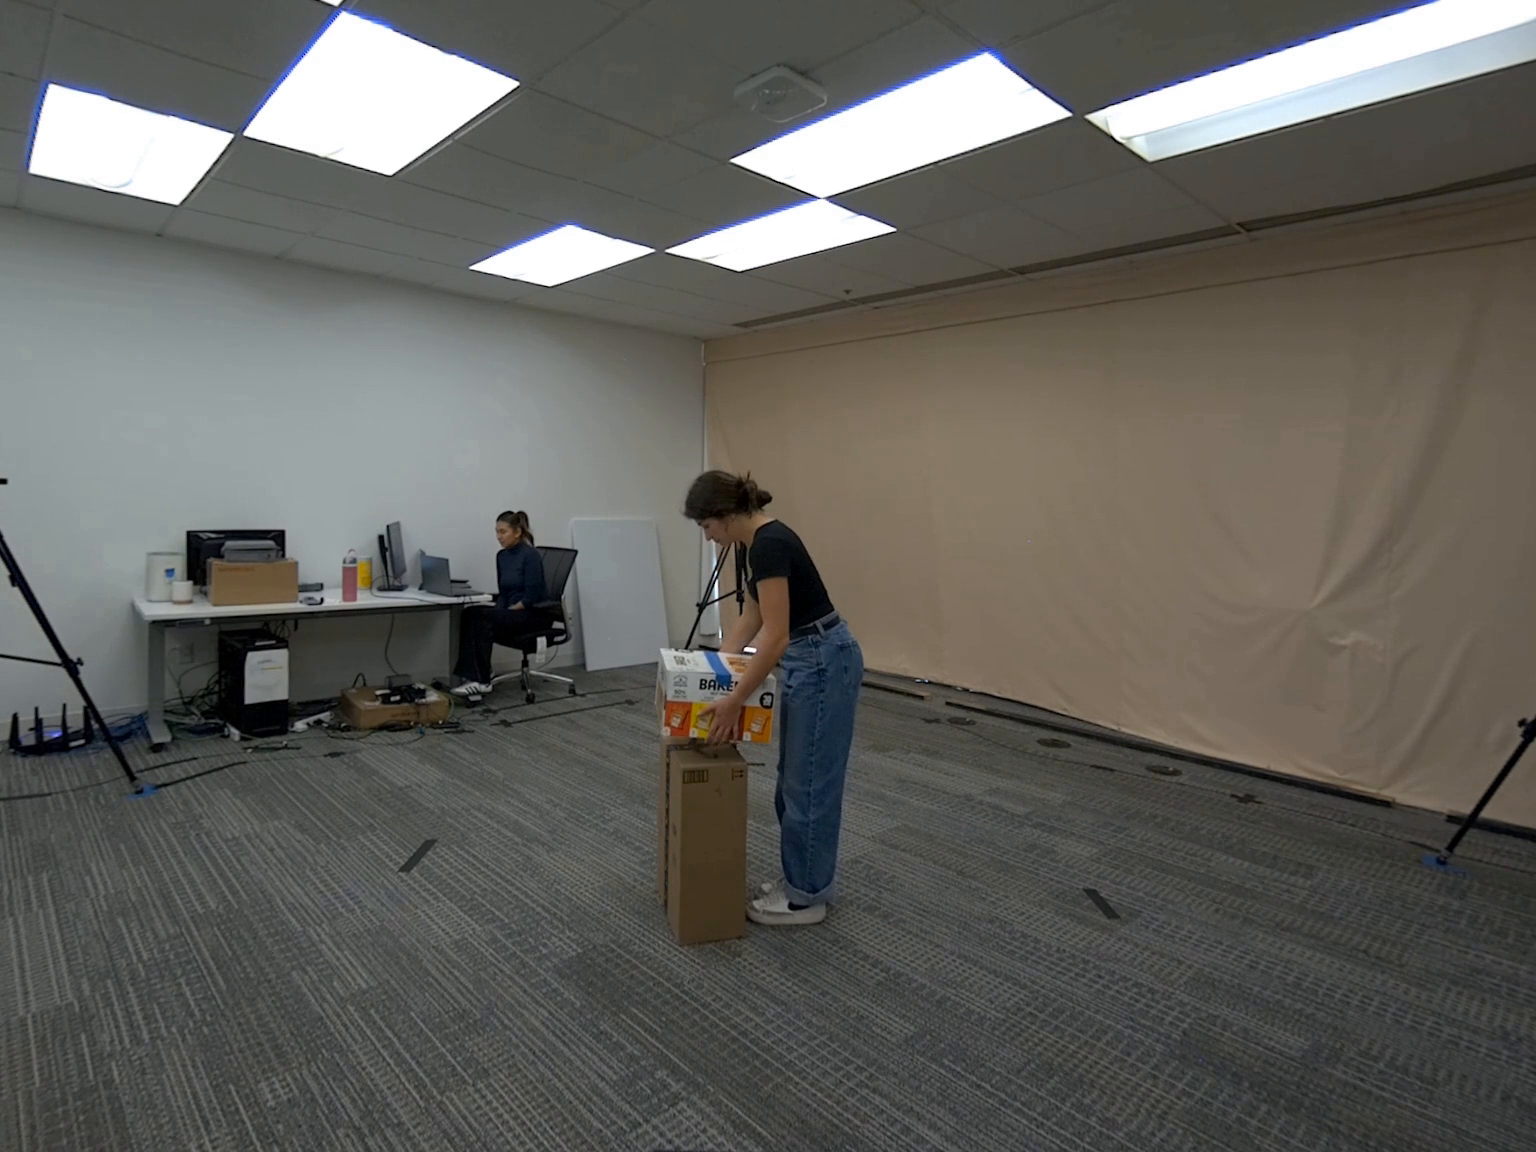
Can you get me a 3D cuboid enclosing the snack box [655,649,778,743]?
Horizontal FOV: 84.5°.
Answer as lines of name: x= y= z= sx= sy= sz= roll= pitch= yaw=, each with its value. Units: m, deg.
snack box: x=-0.190 y=0.384 z=2.786 sx=0.337 sy=0.205 sz=0.409 roll=6 pitch=3 yaw=-10
